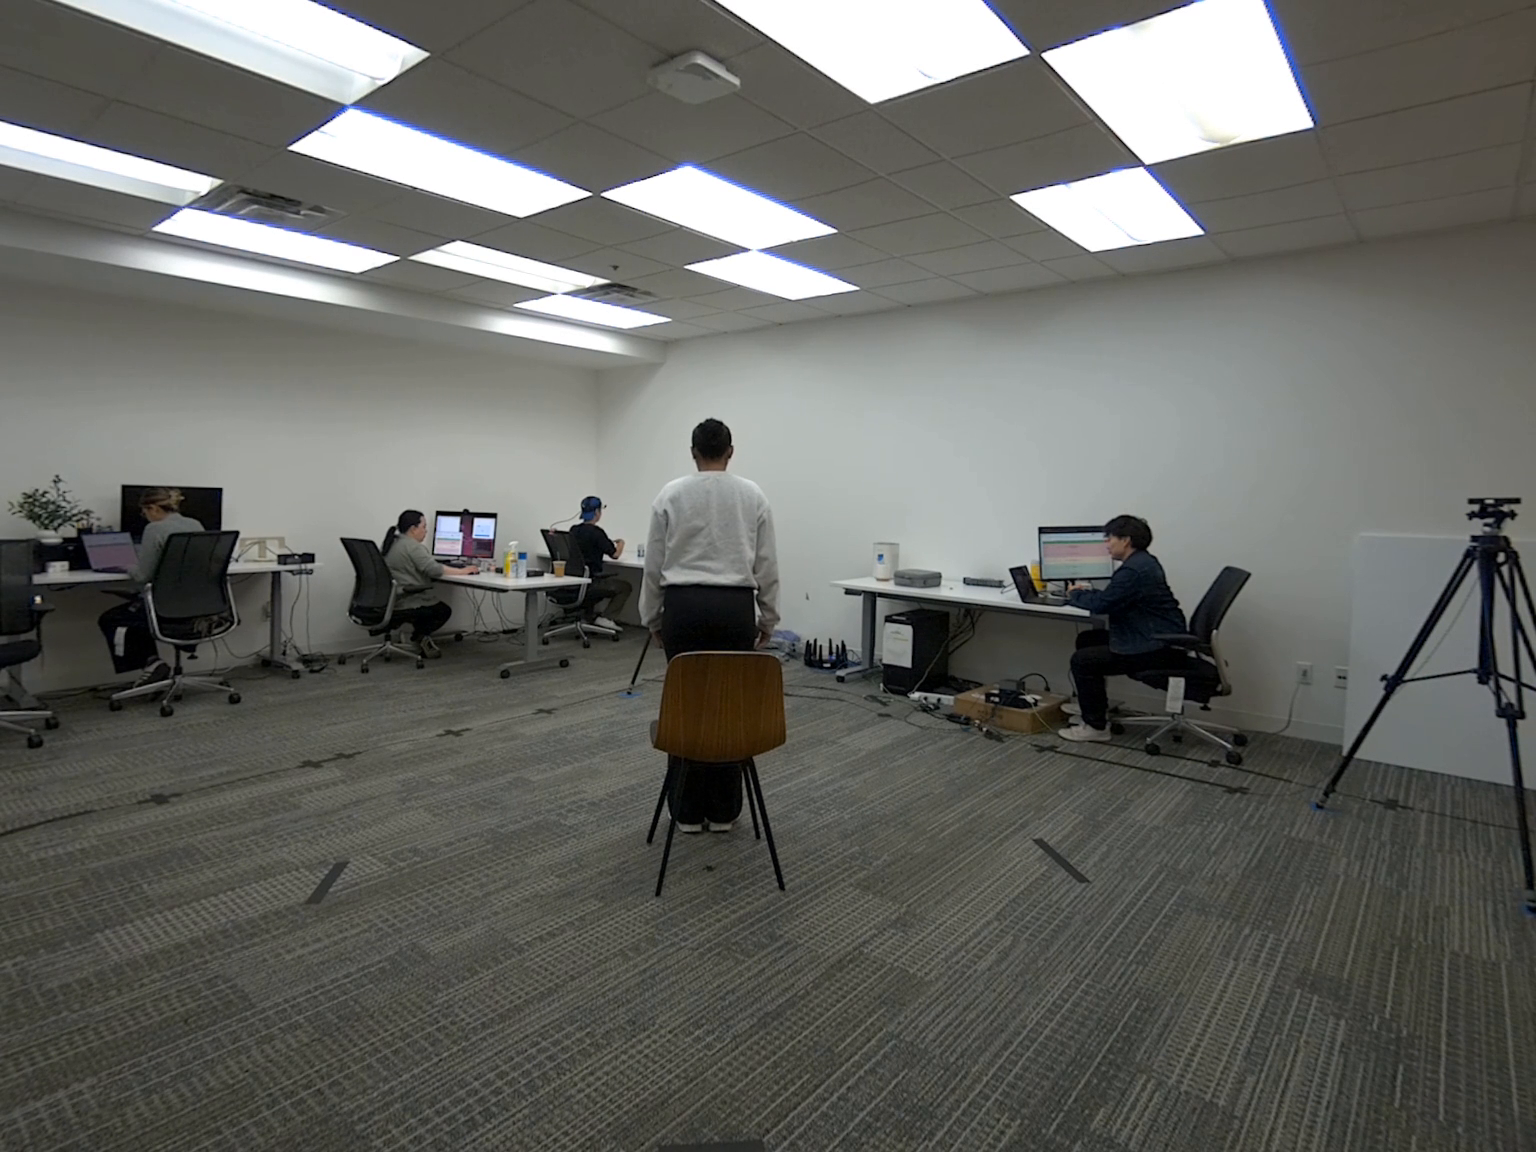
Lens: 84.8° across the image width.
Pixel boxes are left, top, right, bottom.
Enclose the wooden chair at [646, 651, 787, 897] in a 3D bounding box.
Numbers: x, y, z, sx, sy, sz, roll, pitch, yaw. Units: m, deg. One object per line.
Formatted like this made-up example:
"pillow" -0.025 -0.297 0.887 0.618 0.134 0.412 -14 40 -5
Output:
"wooden chair" -0.213 0.635 3.111 0.473 0.872 0.532 0 7 -11
